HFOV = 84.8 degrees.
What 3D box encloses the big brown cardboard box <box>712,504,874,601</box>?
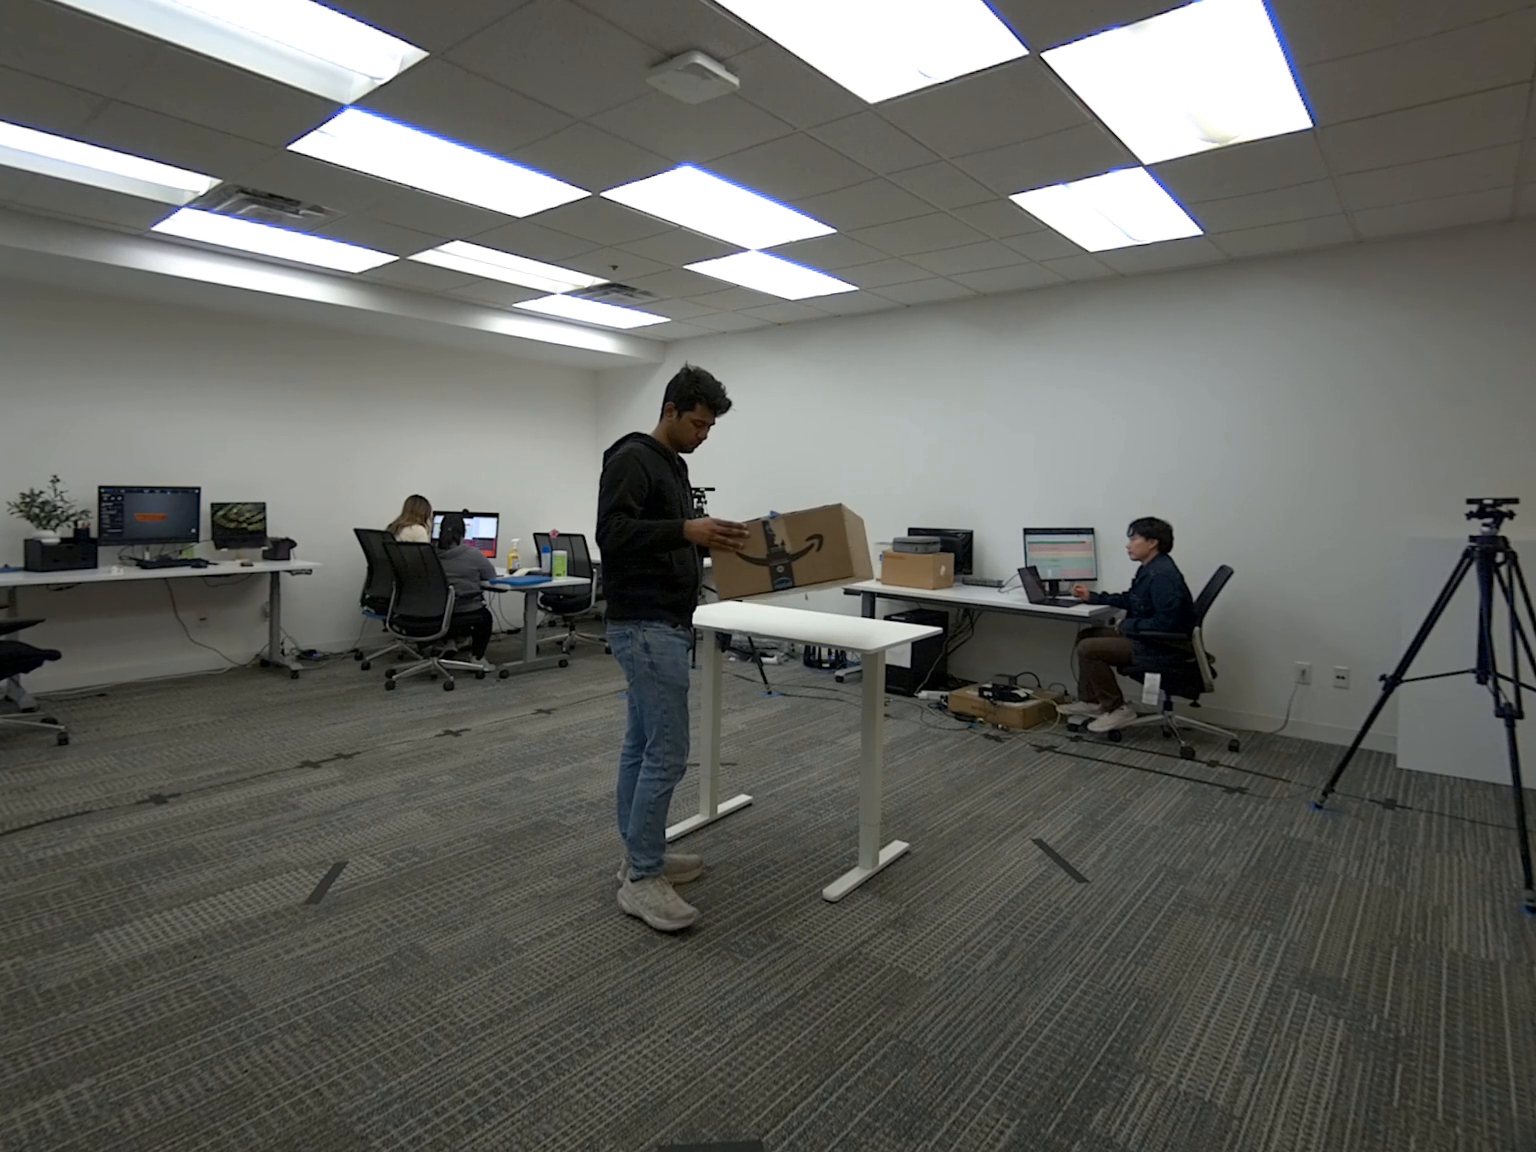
[{"bbox_3d":[0.072,-0.057,2.751,0.423,0.234,0.578,-9,-3,14],"label":"big brown cardboard box"}]
